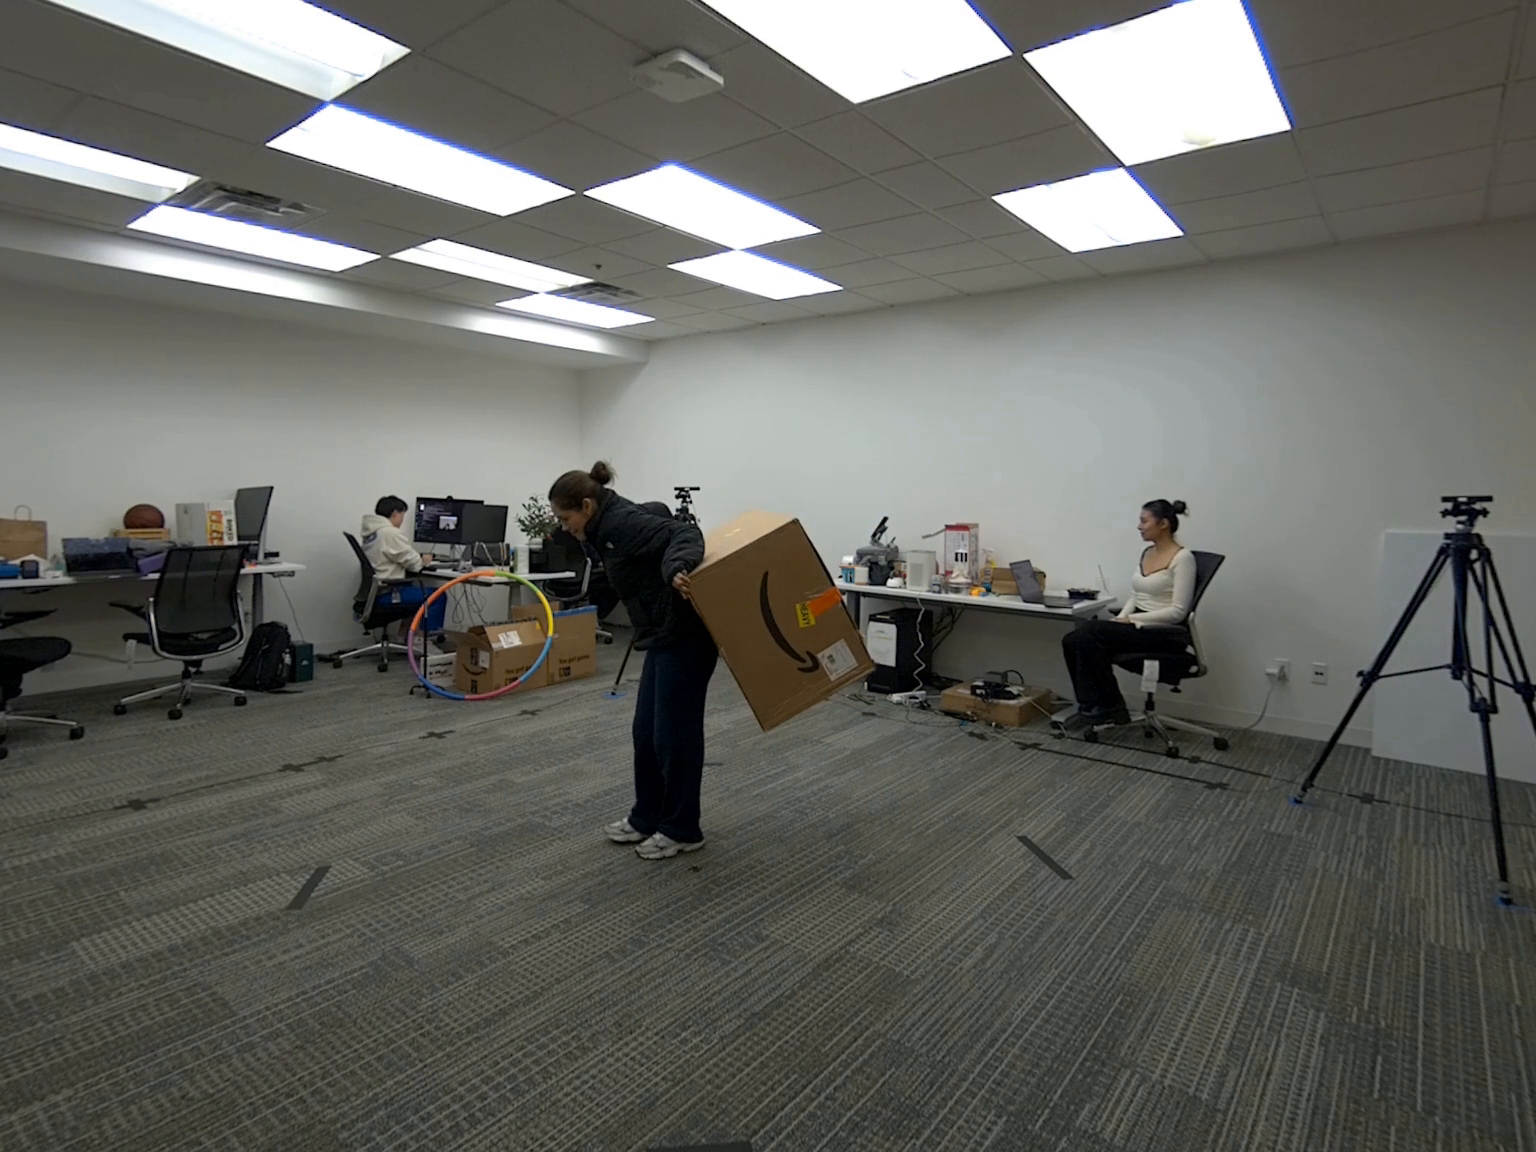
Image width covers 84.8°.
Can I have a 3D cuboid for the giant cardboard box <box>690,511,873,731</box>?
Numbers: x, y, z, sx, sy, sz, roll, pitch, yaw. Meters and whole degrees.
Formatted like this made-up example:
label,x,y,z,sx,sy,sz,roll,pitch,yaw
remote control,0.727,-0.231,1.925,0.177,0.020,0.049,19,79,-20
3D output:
label,x,y,z,sx,sy,sz,roll,pitch,yaw
giant cardboard box,-0.022,0.106,3.255,0.425,0.572,1.038,-29,9,-4
